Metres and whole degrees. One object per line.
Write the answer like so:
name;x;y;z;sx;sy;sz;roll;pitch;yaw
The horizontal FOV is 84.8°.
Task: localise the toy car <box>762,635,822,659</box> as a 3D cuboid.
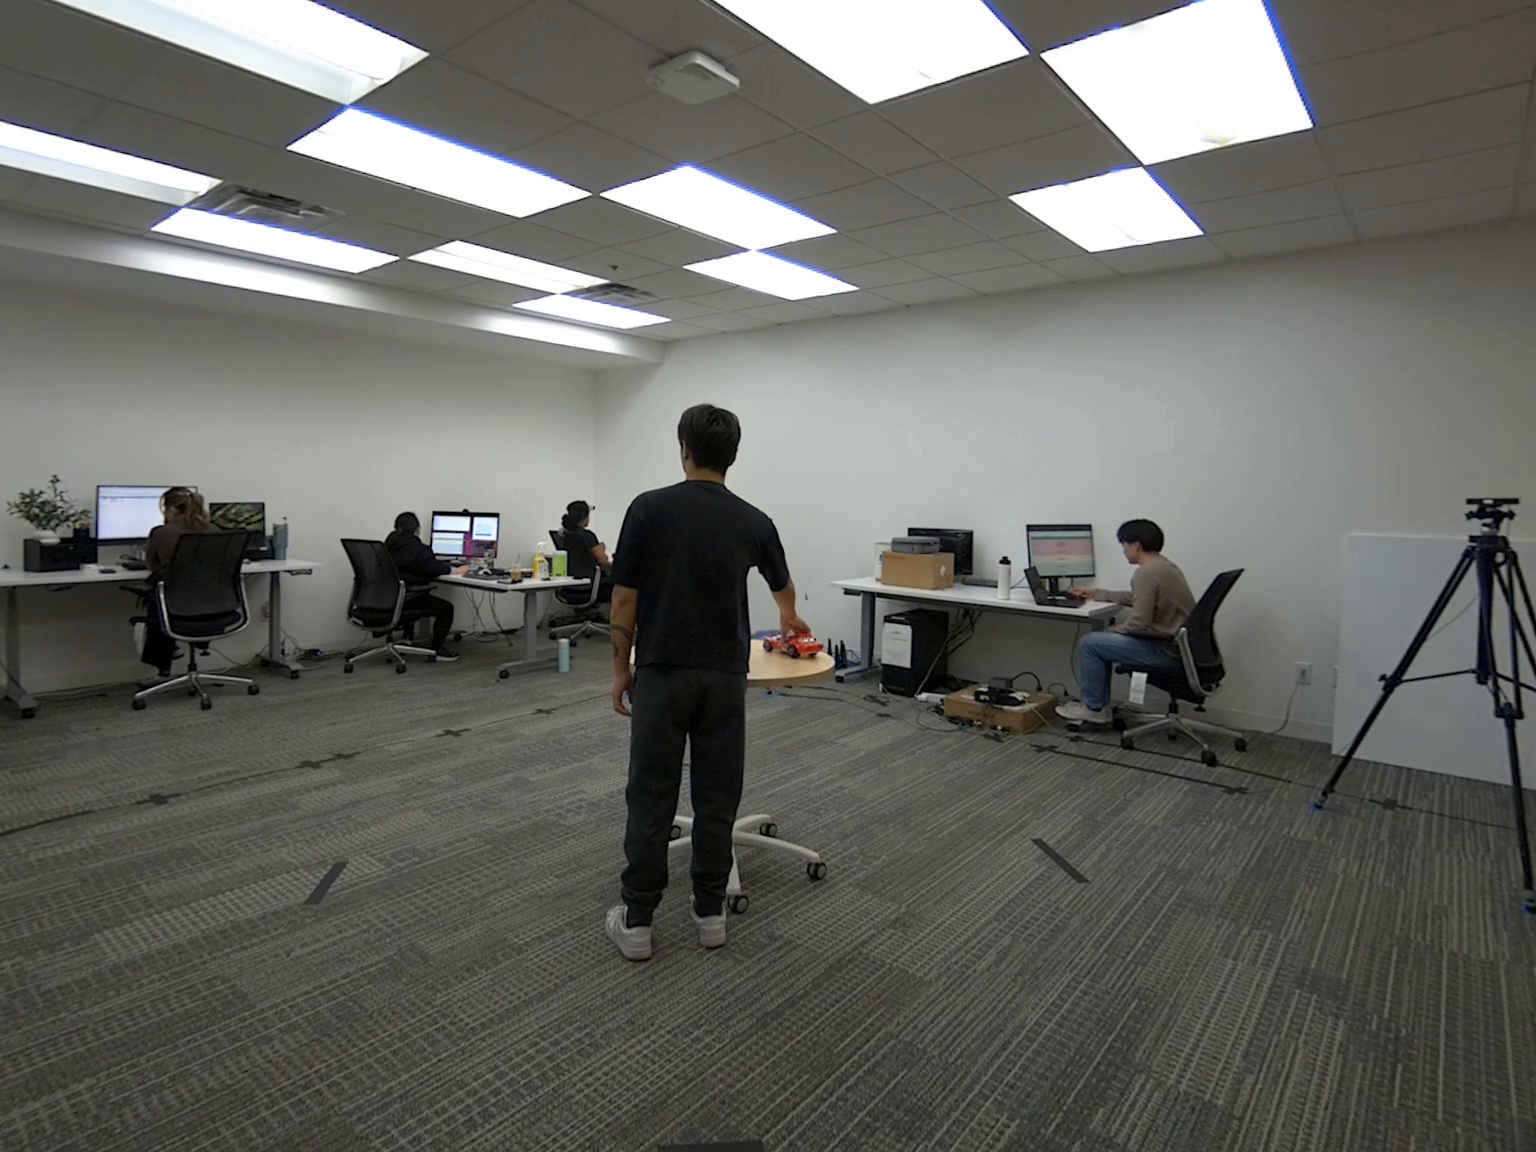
toy car;0.085;0.257;3.149;0.126;0.083;0.261;-2;-4;-38
